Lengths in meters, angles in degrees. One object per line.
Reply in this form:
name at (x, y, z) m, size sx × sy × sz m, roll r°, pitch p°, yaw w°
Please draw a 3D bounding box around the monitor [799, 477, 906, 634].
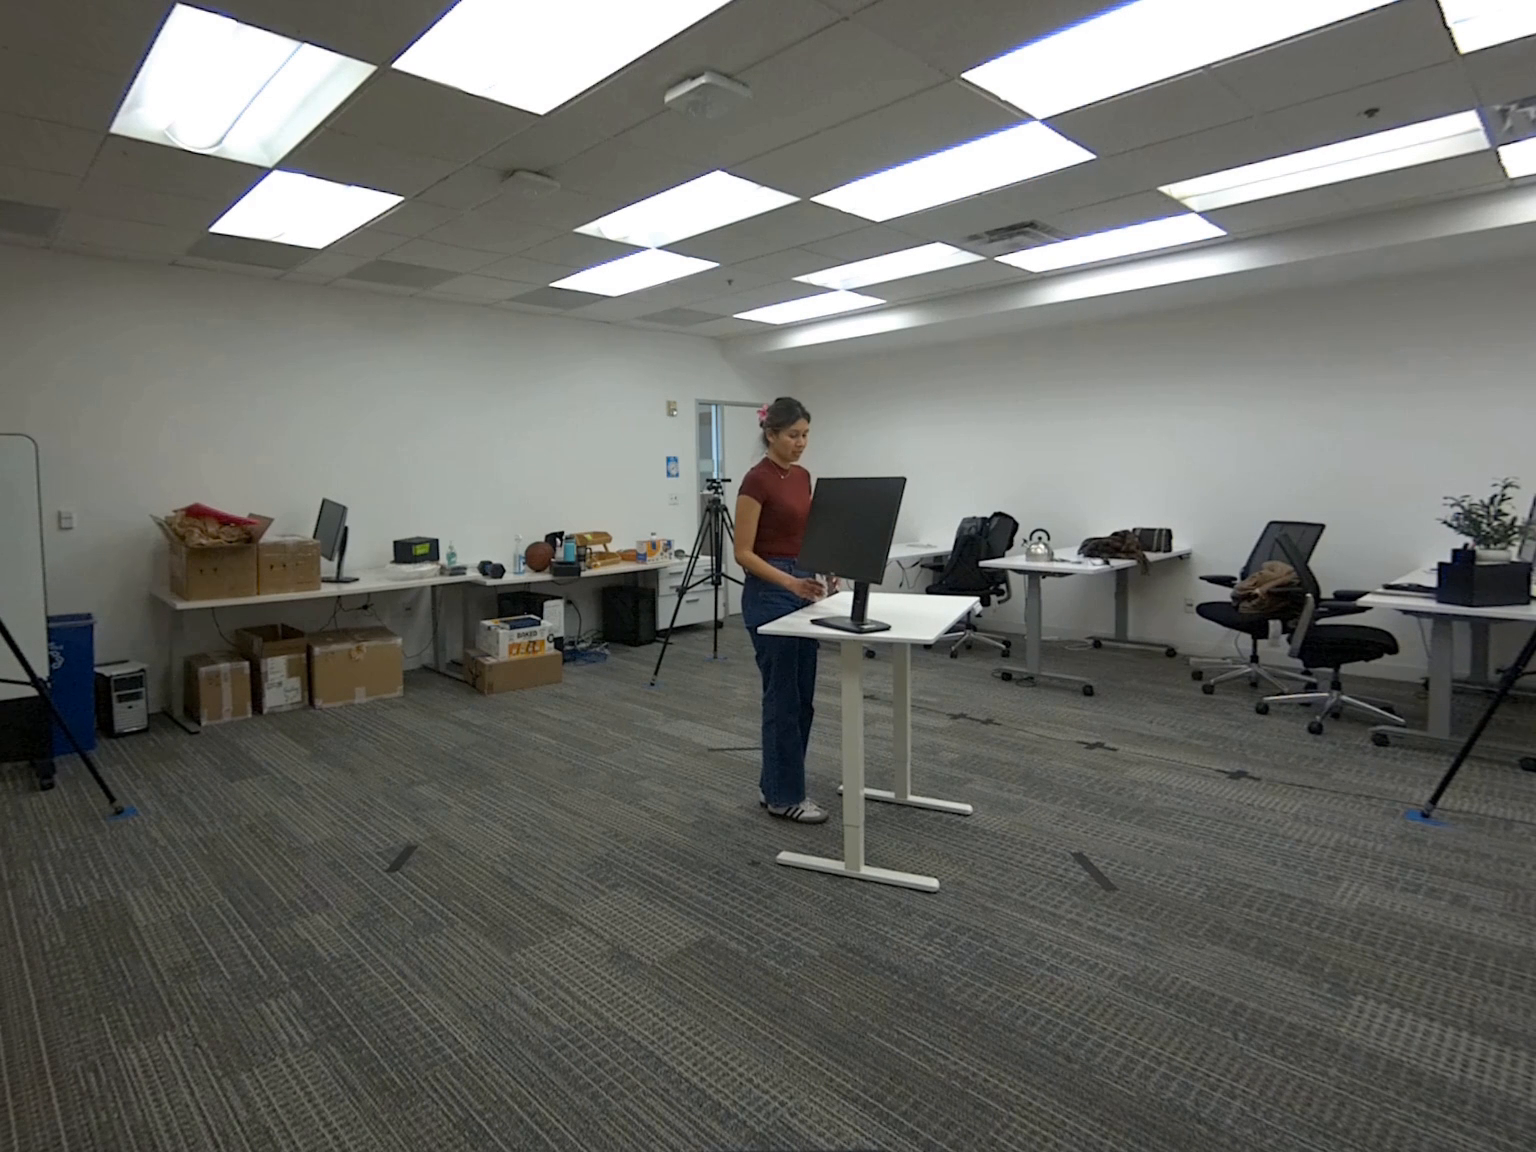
monitor at (0.294, -0.078, 2.951) m, size 0.183 × 0.521 × 0.553 m, roll 1°, pitch 4°, yaw -28°
